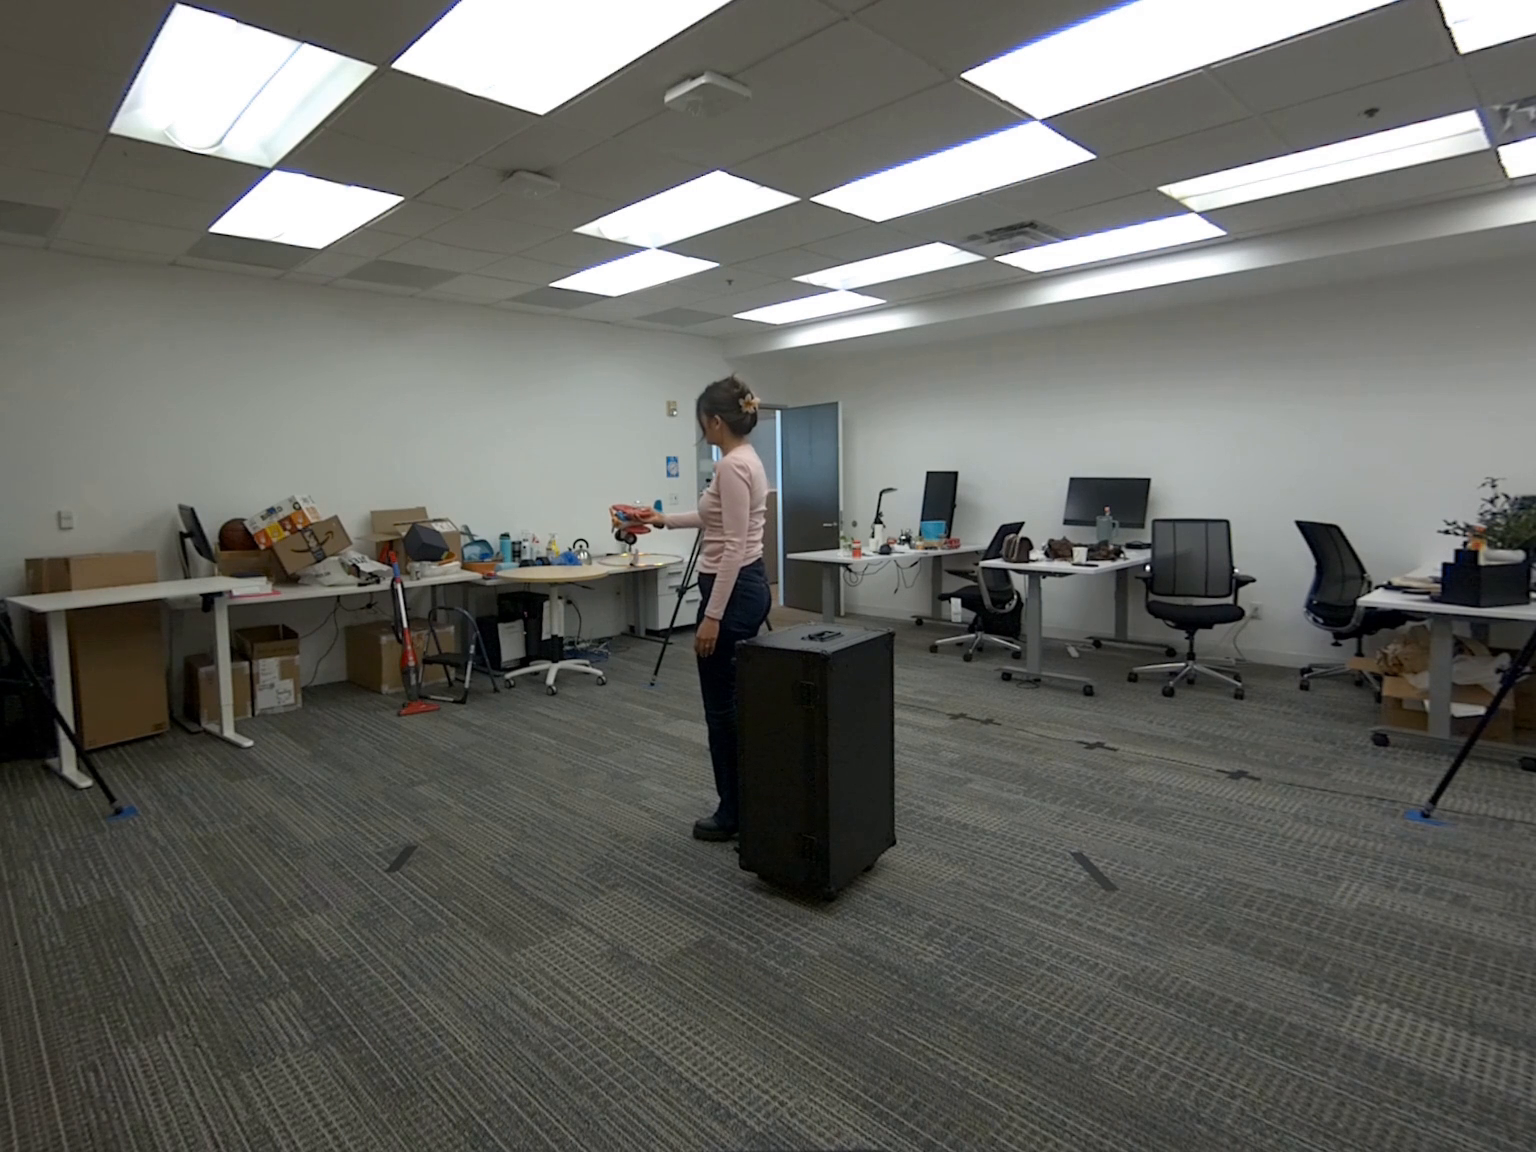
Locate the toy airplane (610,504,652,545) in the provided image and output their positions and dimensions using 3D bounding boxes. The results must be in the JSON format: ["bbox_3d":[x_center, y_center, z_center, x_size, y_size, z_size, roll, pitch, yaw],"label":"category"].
[{"bbox_3d":[-0.583,-0.256,3.840,0.257,0.153,0.259,0,27,26],"label":"toy airplane"}]
